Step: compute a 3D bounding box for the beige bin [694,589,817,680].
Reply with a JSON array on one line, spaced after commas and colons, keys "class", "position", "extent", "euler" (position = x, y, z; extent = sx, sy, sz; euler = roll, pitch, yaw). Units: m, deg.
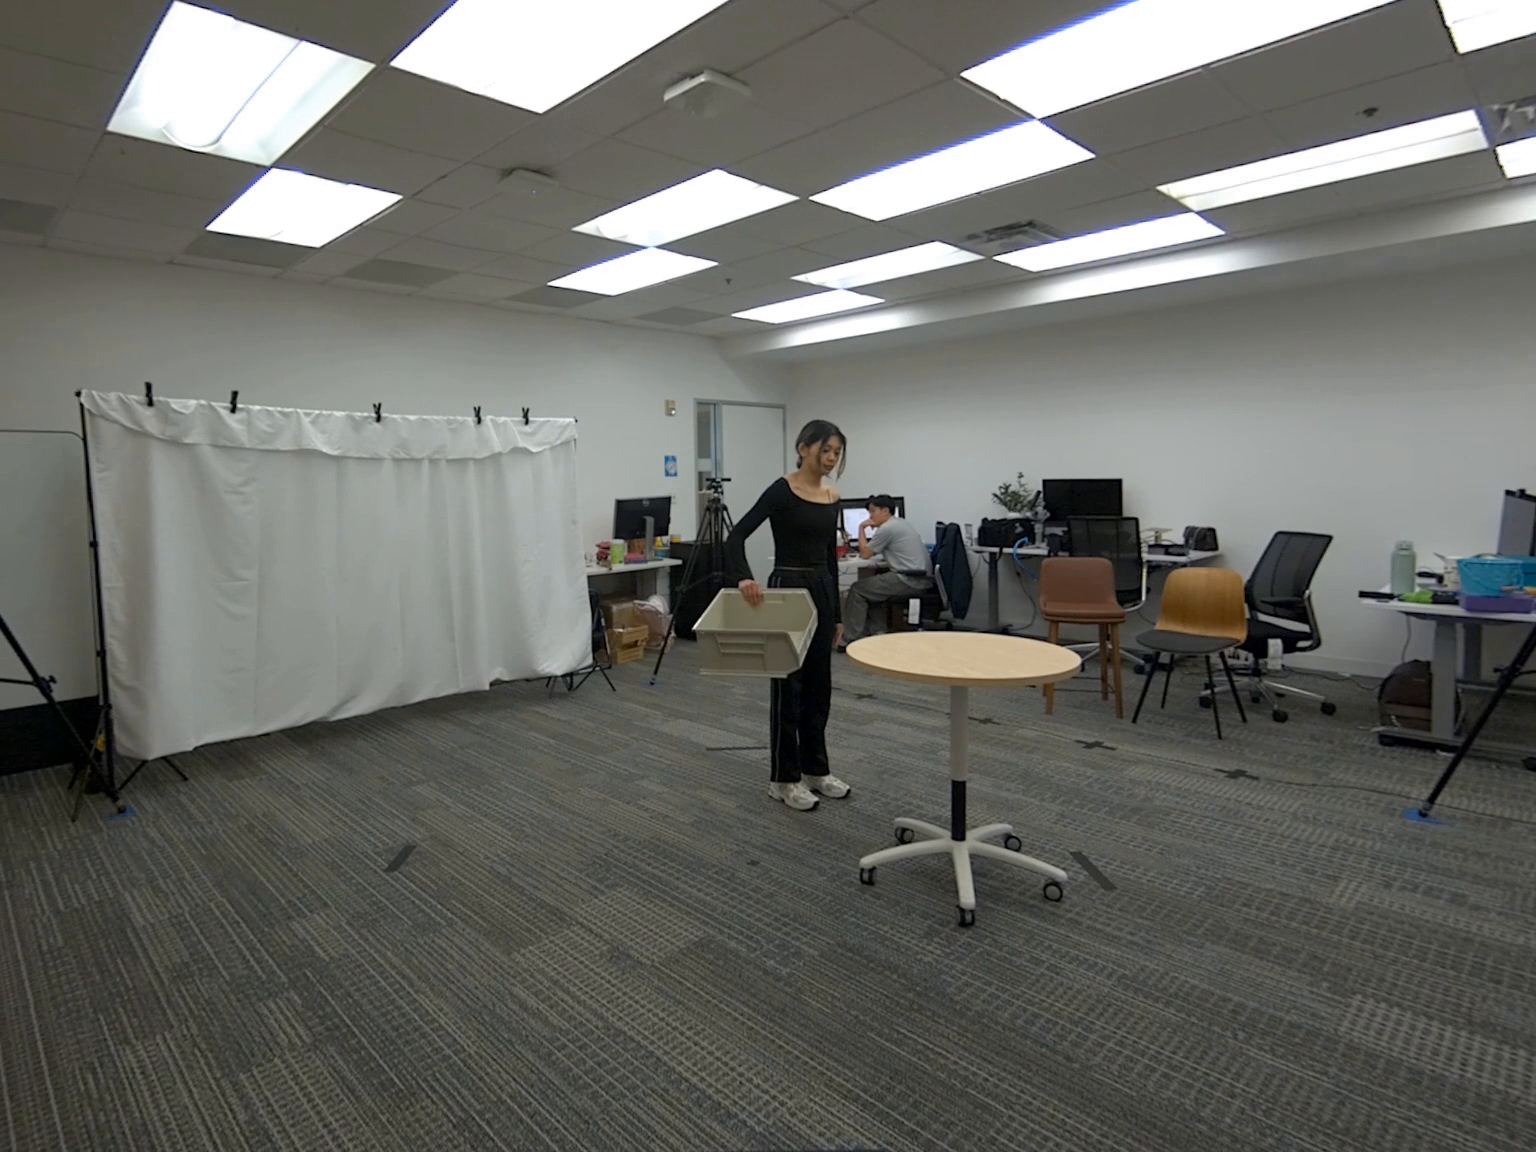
[{"class": "beige bin", "position": [-0.045, 0.200, 3.171], "extent": [0.383, 0.186, 0.422], "euler": [-2, 16, 15]}]
